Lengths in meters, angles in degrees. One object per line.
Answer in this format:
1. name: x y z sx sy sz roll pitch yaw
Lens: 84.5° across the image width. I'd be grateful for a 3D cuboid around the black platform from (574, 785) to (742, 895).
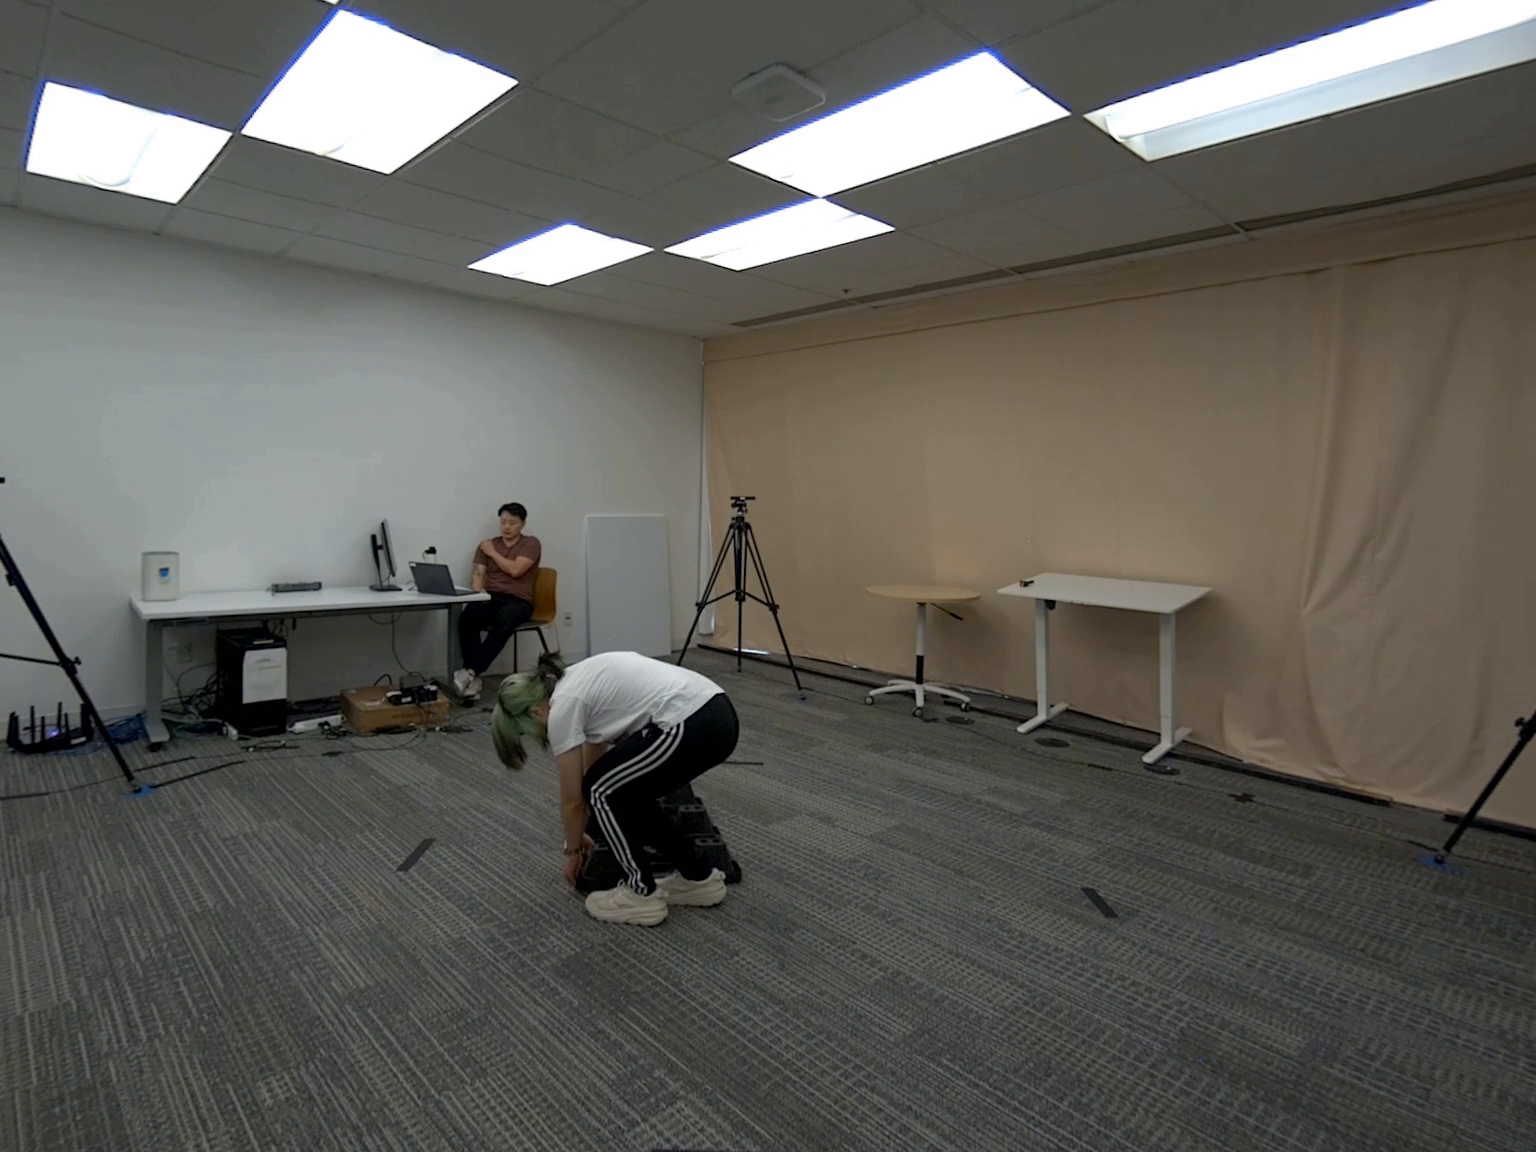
1. black platform: -0.495 0.997 3.359 0.598 0.143 0.817 2 5 -16
